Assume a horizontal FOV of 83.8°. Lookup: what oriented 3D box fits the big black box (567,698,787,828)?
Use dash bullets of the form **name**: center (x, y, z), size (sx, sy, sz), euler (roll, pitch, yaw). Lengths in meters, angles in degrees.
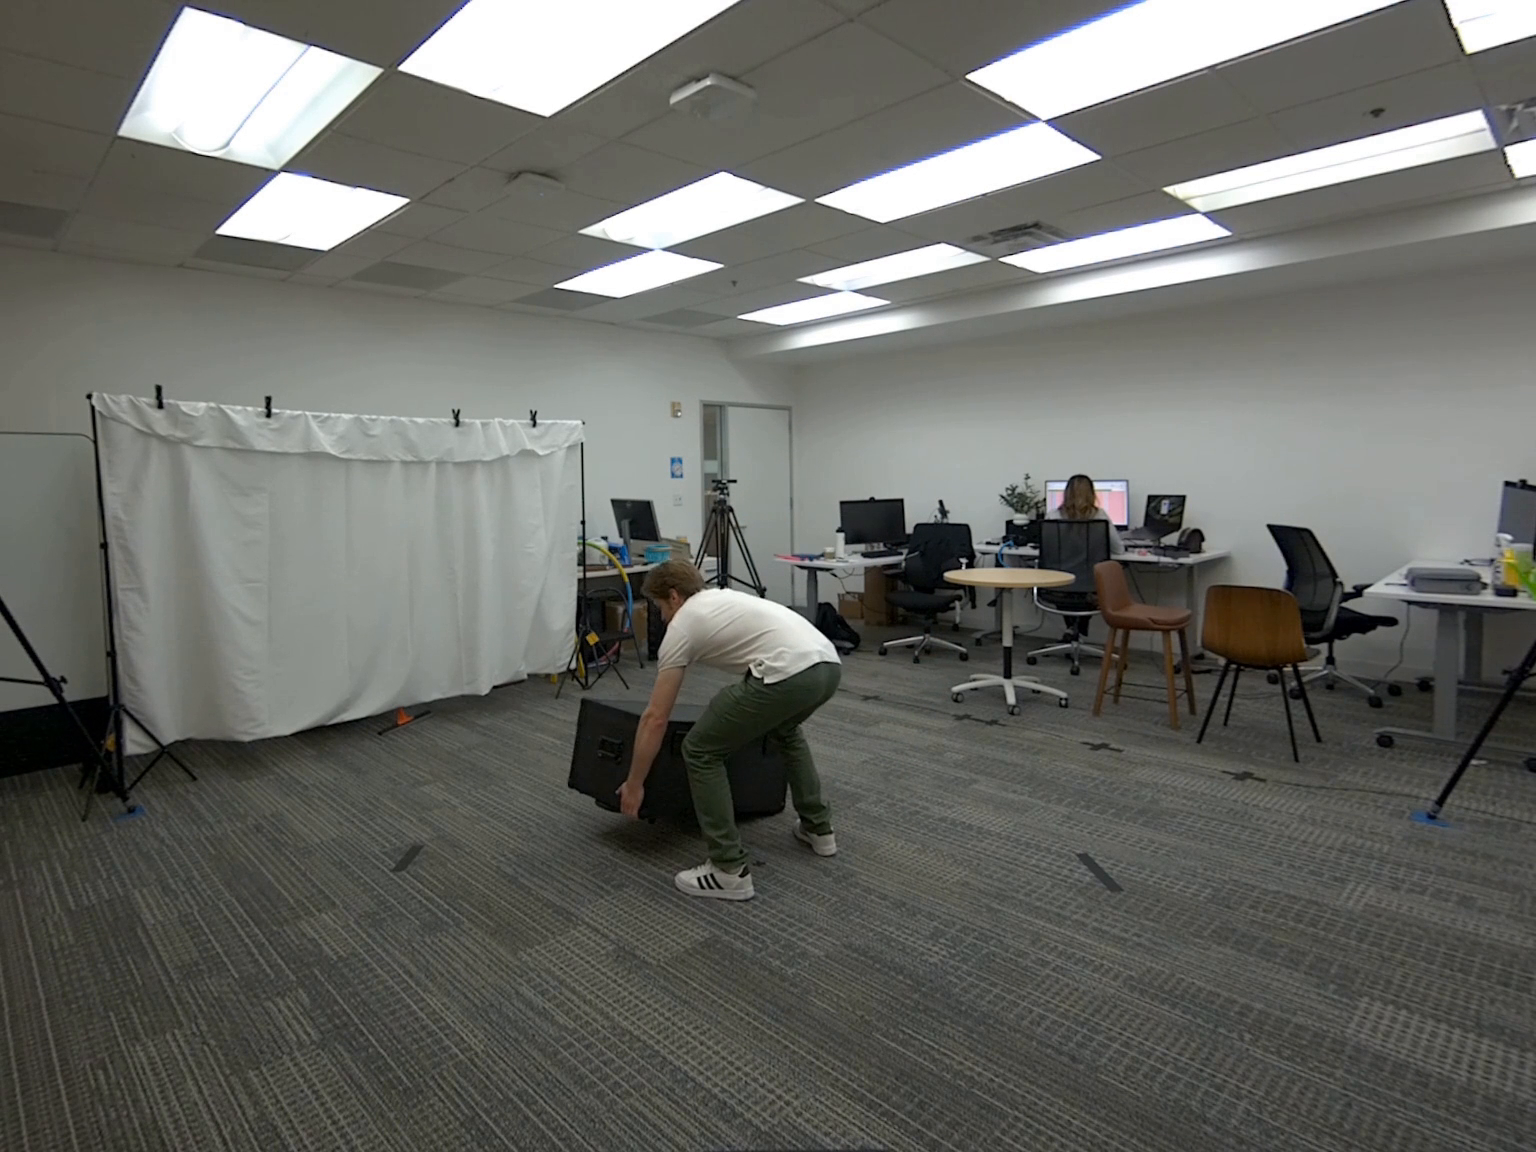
- **big black box**: center (-0.316, 0.750, 3.543), size (0.839, 0.387, 0.539), euler (12, -7, -44)
